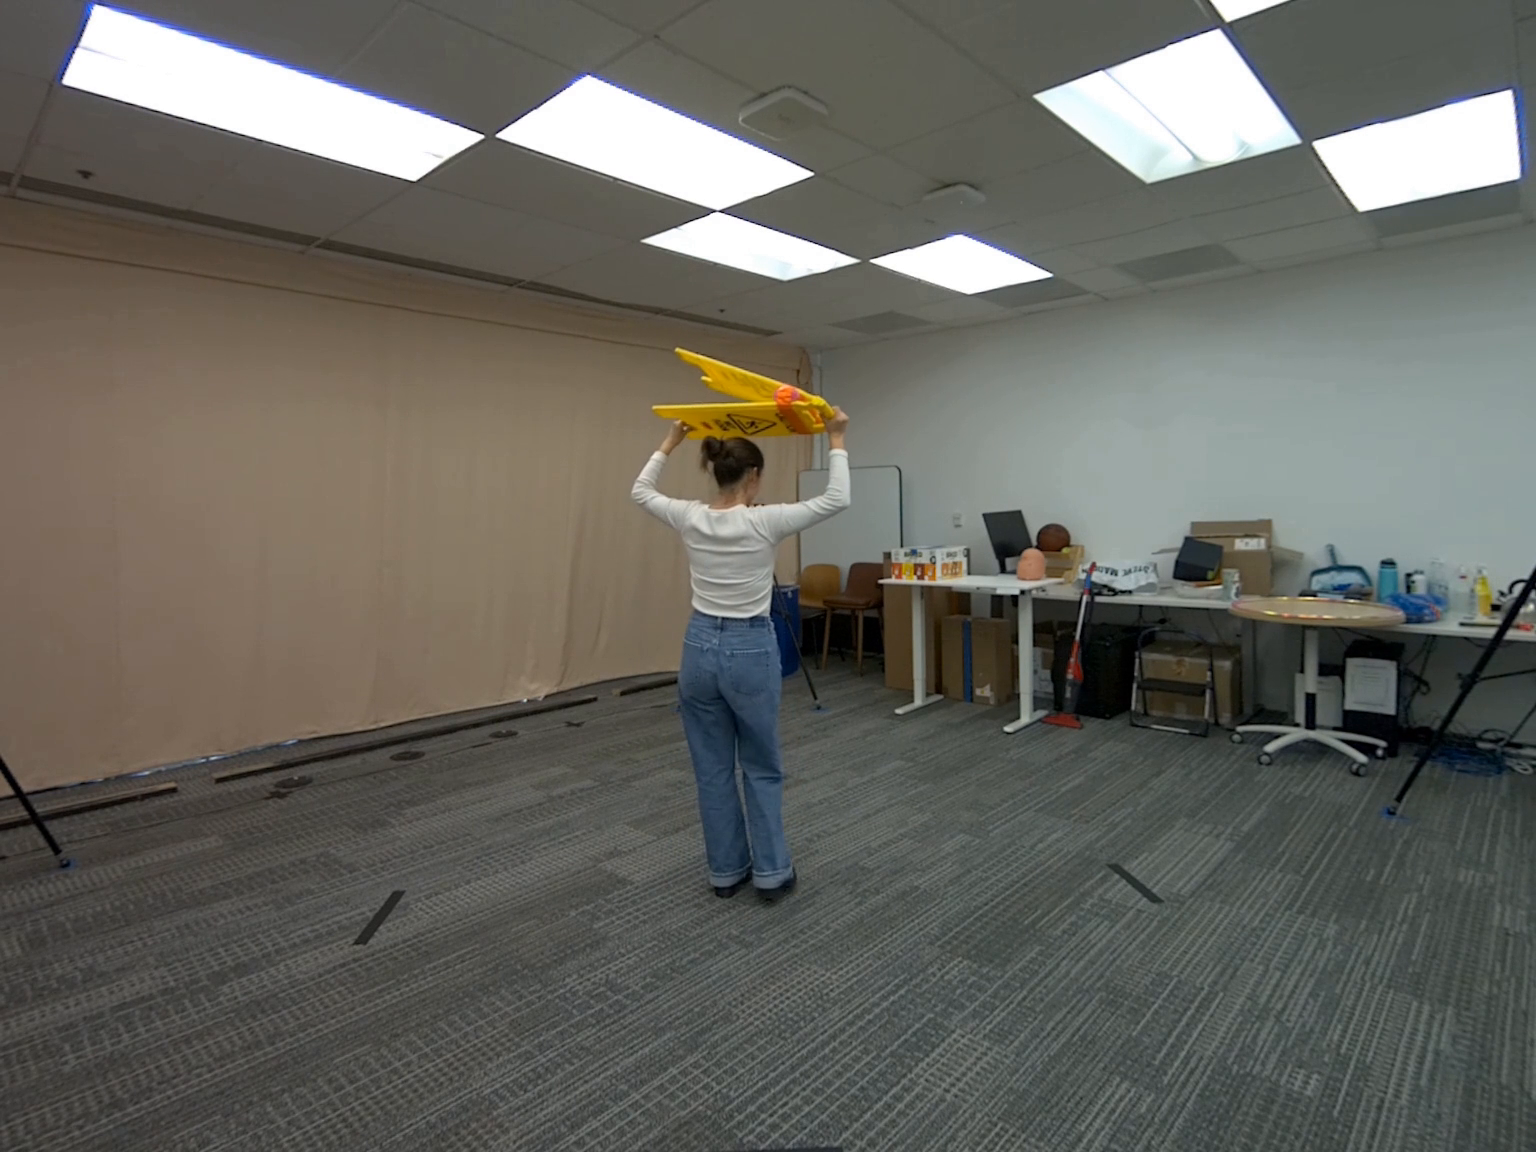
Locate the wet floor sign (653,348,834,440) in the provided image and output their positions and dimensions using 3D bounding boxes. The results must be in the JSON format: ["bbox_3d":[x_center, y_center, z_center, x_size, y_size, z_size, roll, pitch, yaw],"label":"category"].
[{"bbox_3d":[-0.039,-0.611,2.998,0.666,0.290,0.273,14,-12,30],"label":"wet floor sign"}]
